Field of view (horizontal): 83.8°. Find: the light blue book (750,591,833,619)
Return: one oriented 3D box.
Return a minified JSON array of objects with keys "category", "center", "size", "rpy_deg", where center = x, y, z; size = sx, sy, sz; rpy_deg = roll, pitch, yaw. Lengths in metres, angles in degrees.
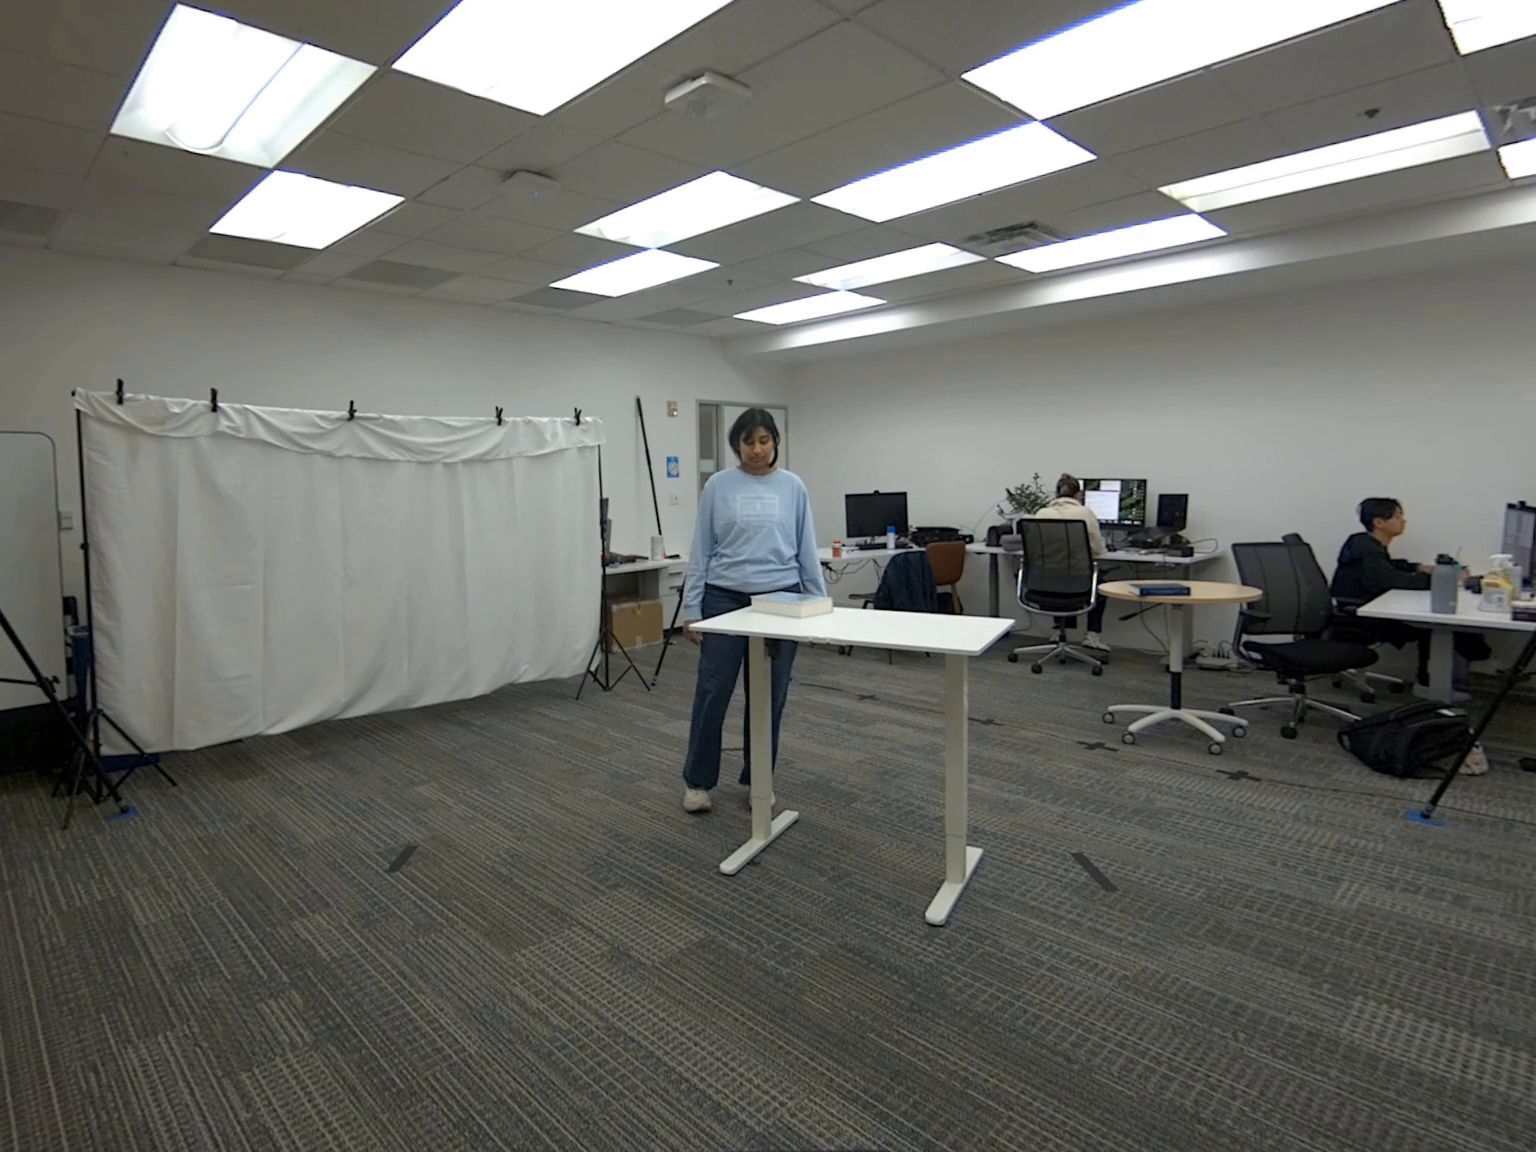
[{"category":"light blue book","center":[0.093,0.111,3.276],"size":[0.186,0.059,0.269],"rpy_deg":[-7,9,-44]}]
